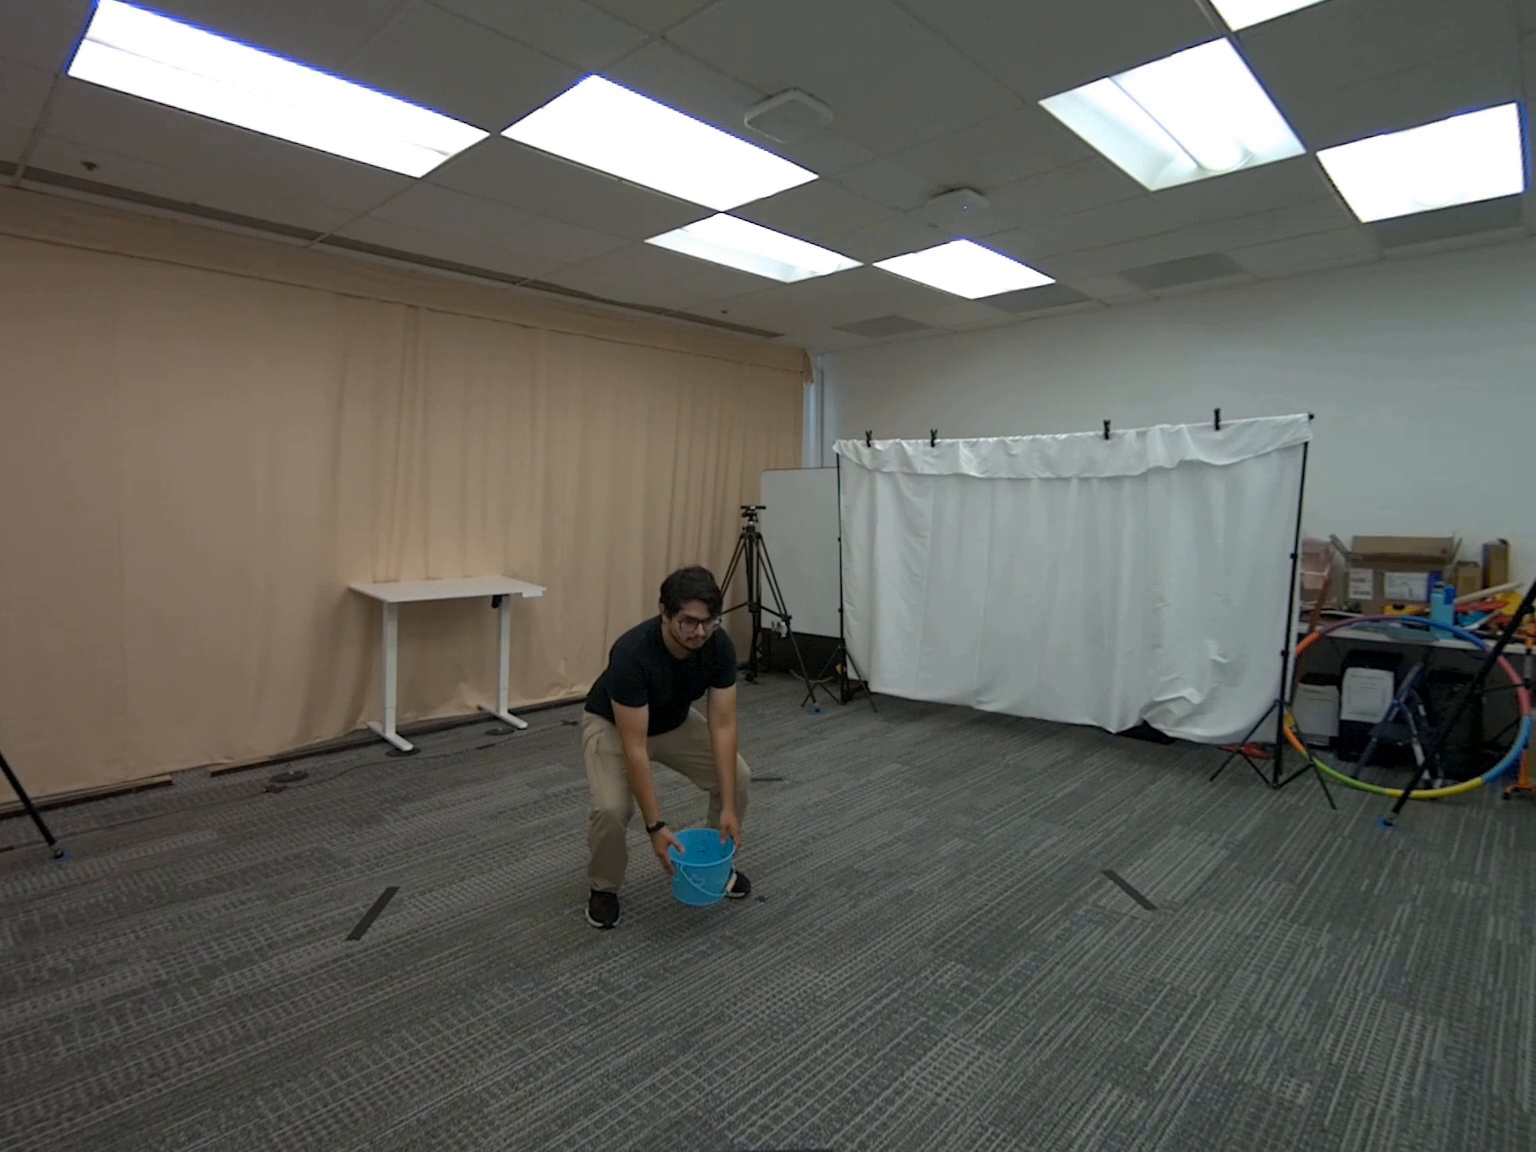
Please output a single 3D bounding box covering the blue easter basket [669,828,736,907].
[{"bbox_3d":[-0.221,0.944,2.731,0.243,0.155,0.246,-1,12,-2],"label":"blue easter basket"}]
